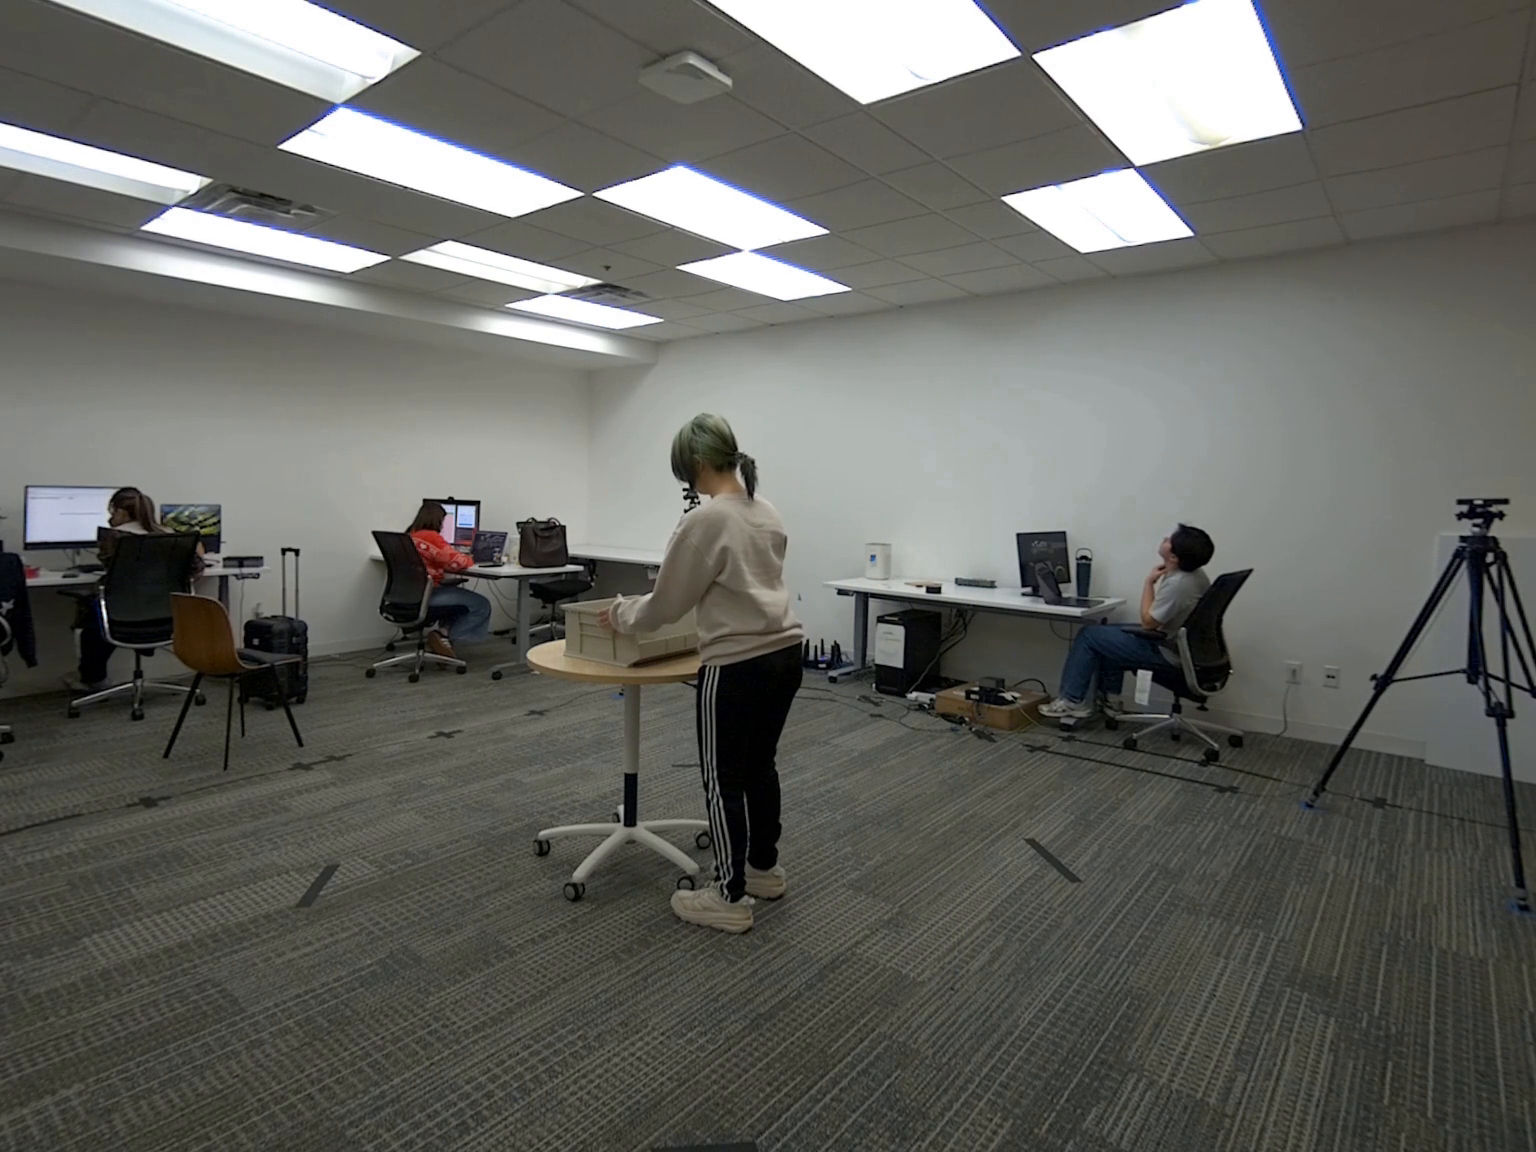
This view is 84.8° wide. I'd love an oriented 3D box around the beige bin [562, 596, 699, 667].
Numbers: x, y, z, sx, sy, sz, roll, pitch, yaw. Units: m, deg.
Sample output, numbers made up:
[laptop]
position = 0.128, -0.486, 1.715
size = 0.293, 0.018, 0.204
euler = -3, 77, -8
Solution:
[beige bin]
position = -0.484, 0.195, 3.101
size = 0.389, 0.188, 0.411
euler = 3, 6, 35
